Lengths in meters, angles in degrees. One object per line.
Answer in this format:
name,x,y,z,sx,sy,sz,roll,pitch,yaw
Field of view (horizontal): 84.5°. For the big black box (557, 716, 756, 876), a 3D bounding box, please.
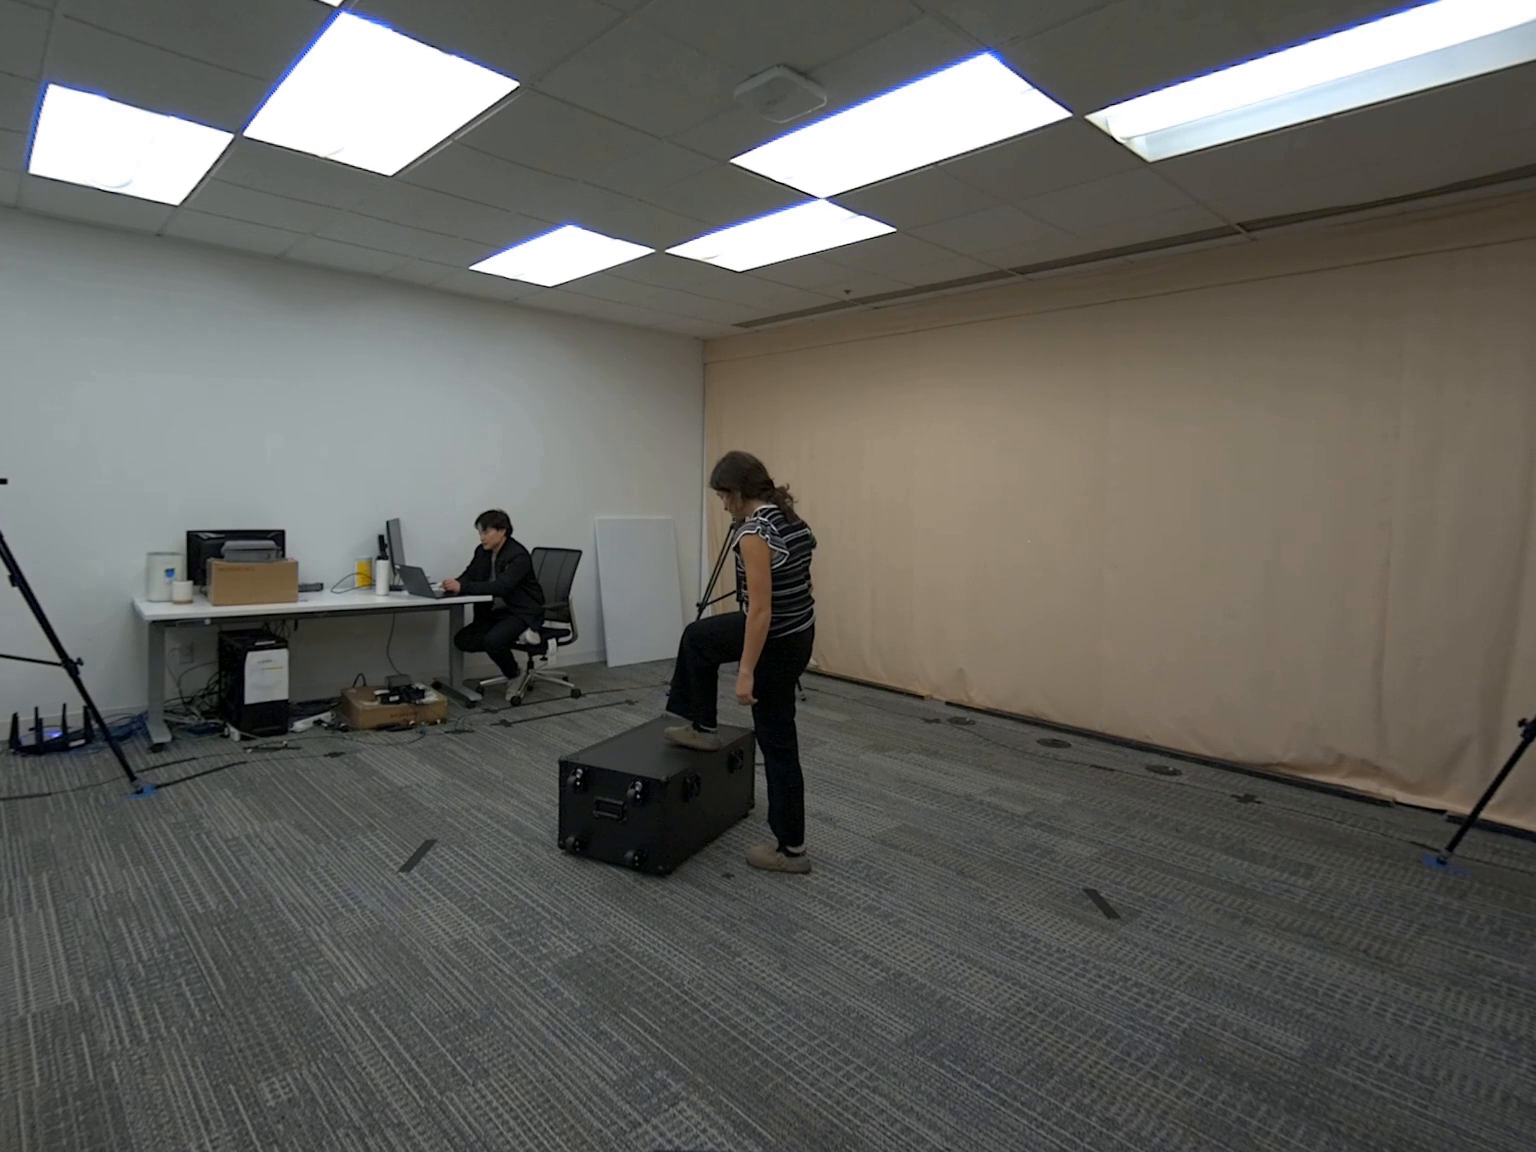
big black box,-0.454,0.878,3.457,0.531,0.395,0.847,4,5,25
